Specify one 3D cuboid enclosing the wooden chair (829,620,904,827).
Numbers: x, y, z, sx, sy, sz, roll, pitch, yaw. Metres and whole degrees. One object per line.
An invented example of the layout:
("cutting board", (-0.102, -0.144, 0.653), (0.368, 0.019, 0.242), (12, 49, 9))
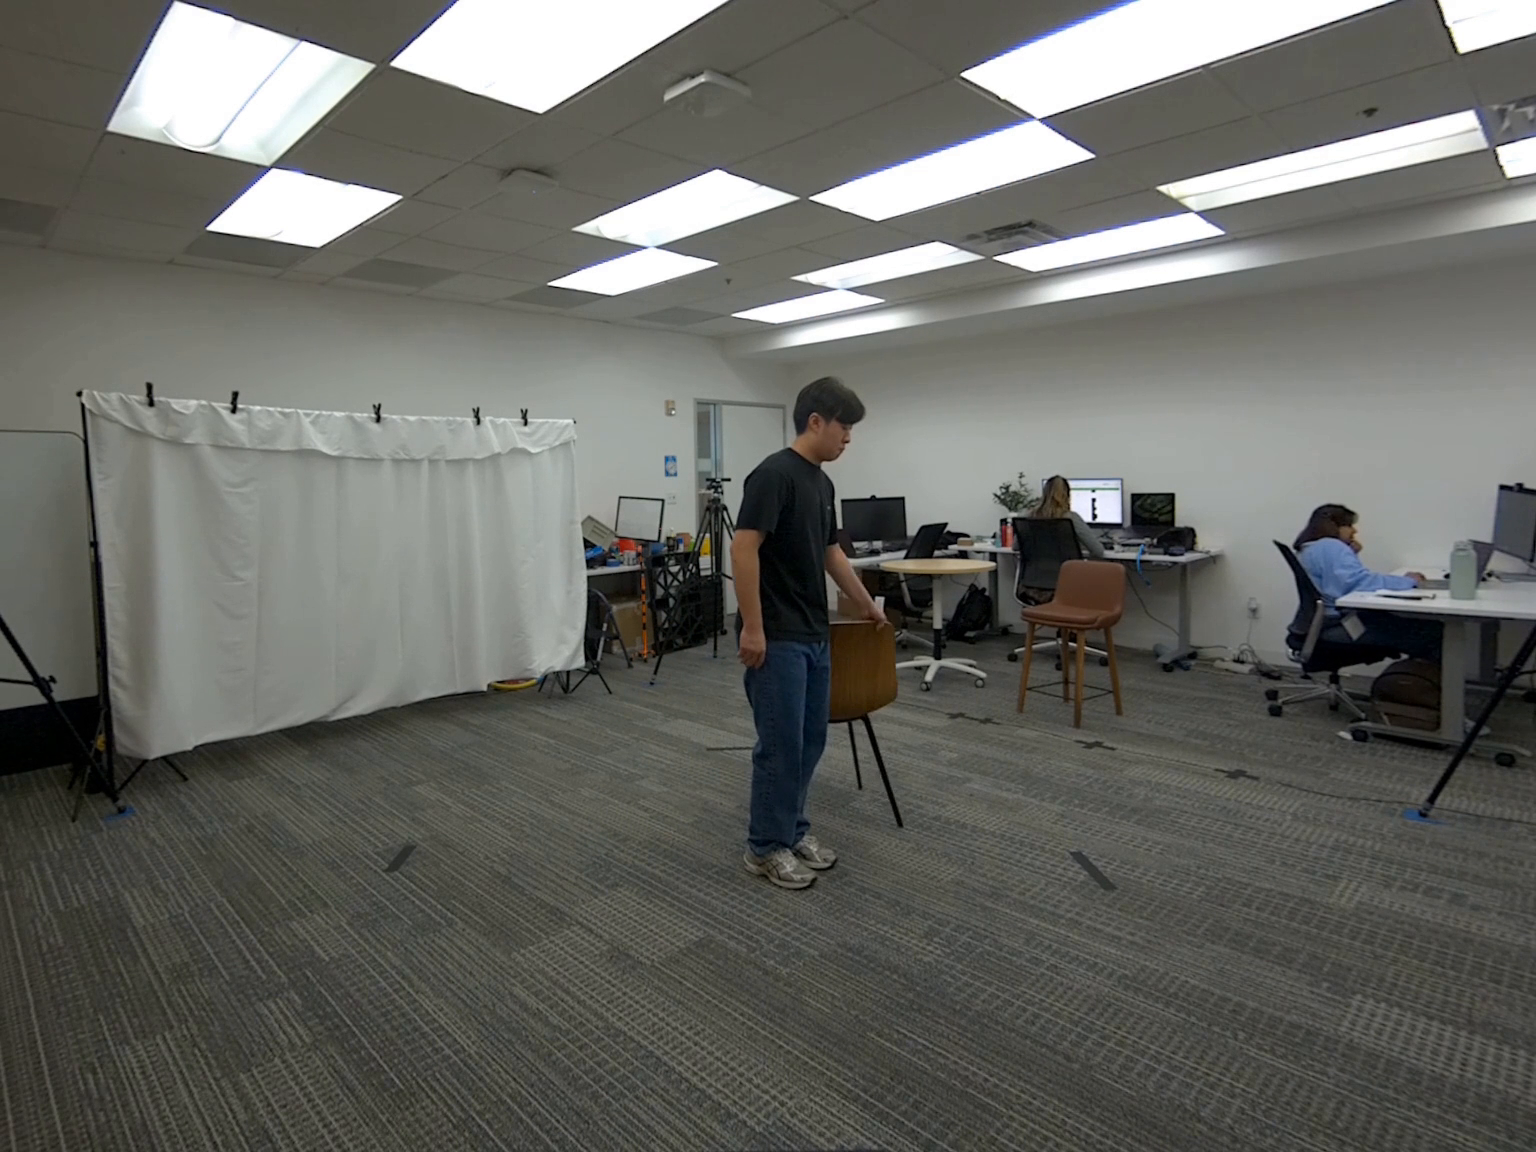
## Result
("wooden chair", (0.252, 0.560, 3.542), (0.472, 0.871, 0.534), (-2, 9, -14))
